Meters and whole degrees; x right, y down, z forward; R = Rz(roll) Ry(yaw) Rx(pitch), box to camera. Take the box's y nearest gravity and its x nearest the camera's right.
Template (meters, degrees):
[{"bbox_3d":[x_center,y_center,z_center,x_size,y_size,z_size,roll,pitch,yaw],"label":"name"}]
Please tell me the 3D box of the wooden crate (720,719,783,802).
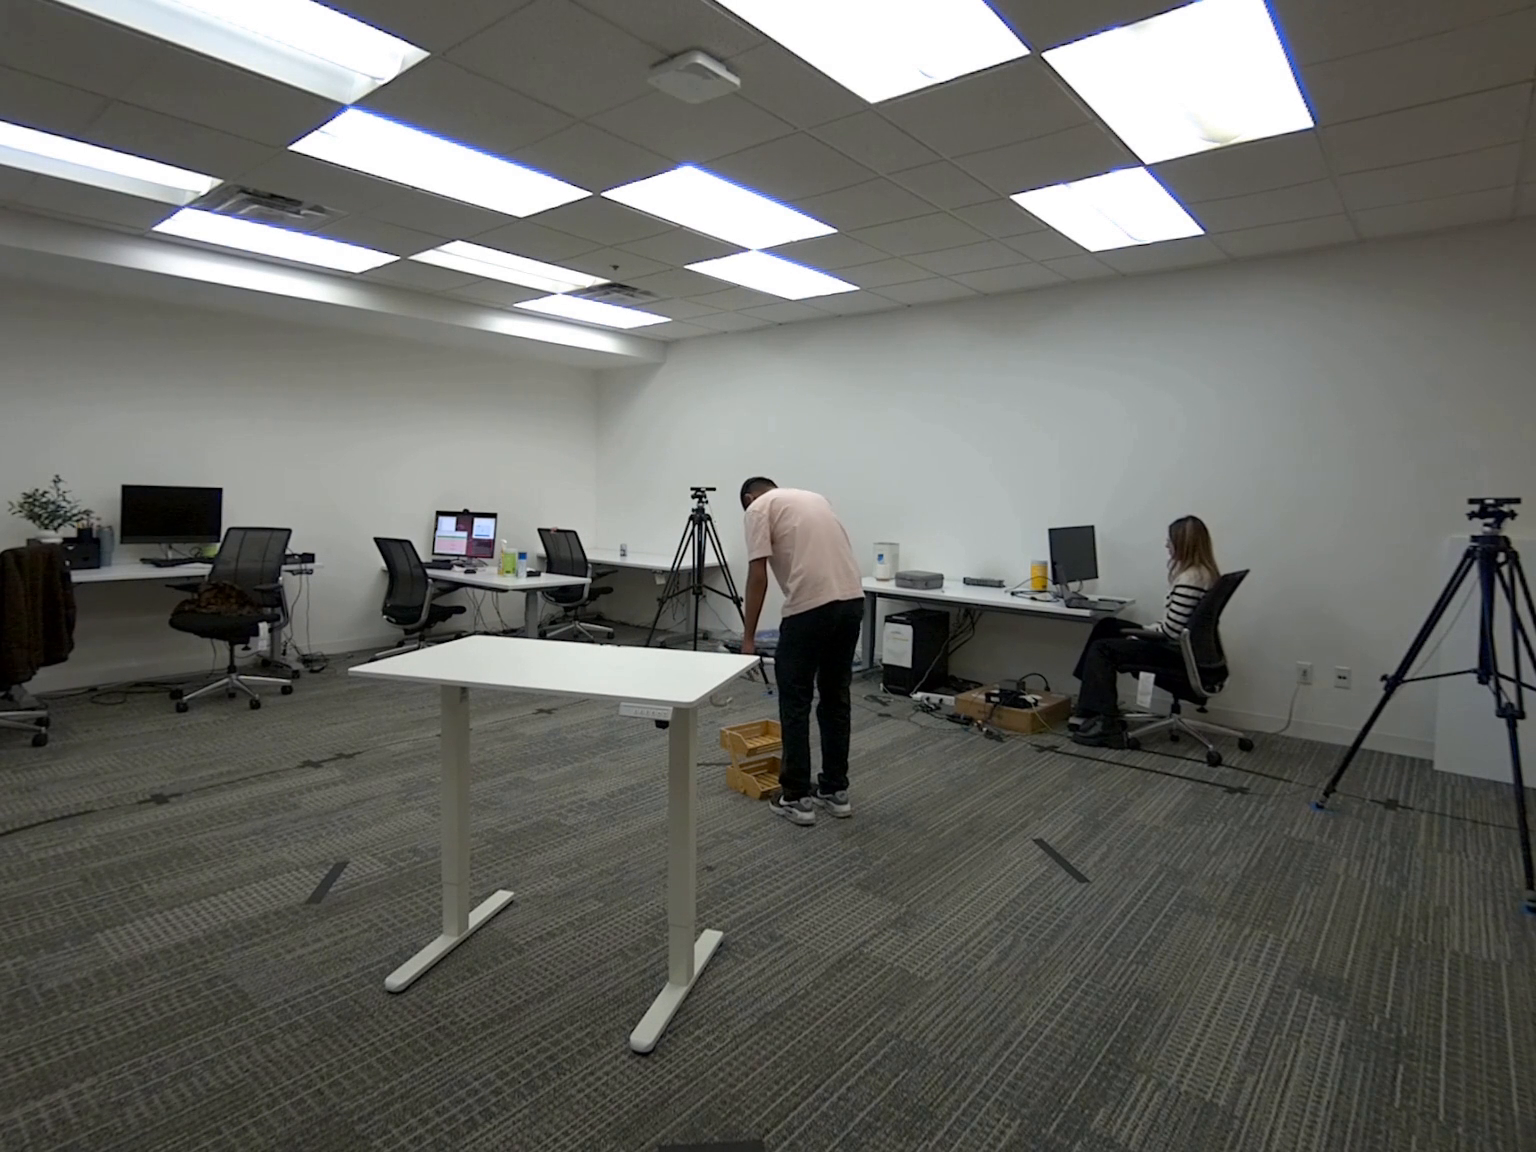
[{"bbox_3d":[-0.028,0.847,4.003,0.315,0.272,0.312,-3,6,-40],"label":"wooden crate"}]
